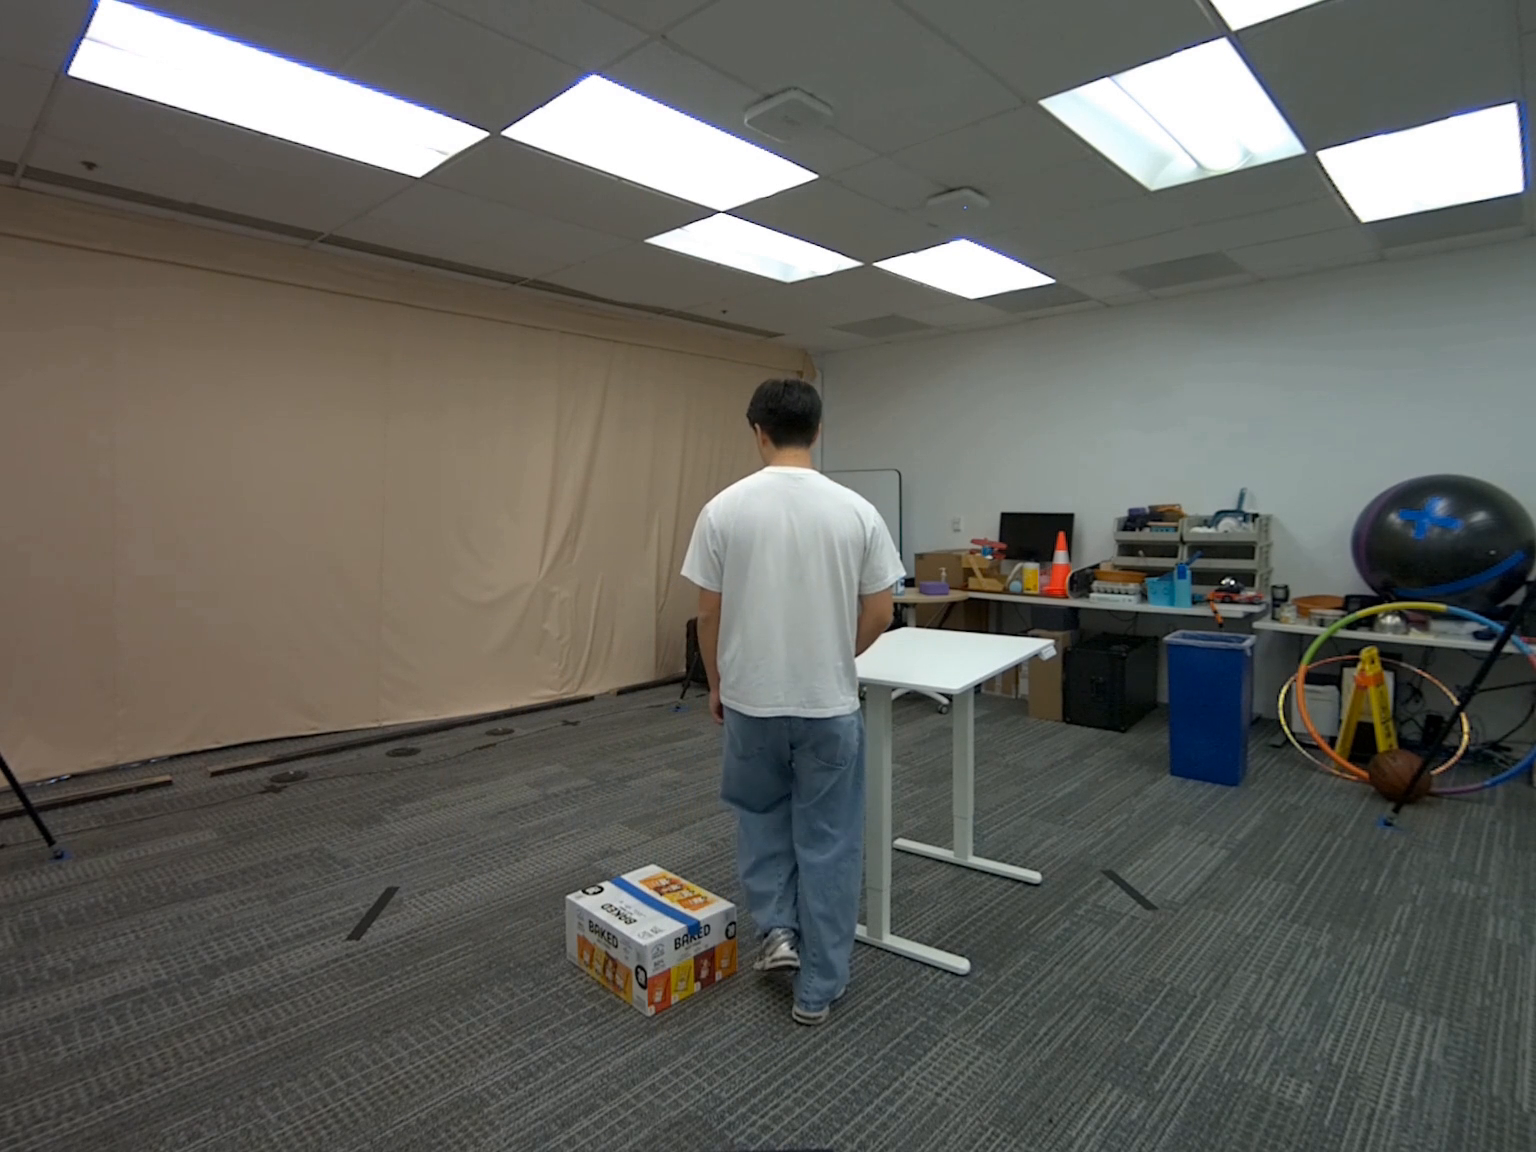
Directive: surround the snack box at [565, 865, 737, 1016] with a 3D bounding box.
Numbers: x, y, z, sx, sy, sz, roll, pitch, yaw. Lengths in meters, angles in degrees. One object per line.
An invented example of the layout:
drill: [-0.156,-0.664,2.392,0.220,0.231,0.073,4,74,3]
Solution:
snack box: [-0.355,1.083,2.542,0.330,0.205,0.419,-4,6,-44]
